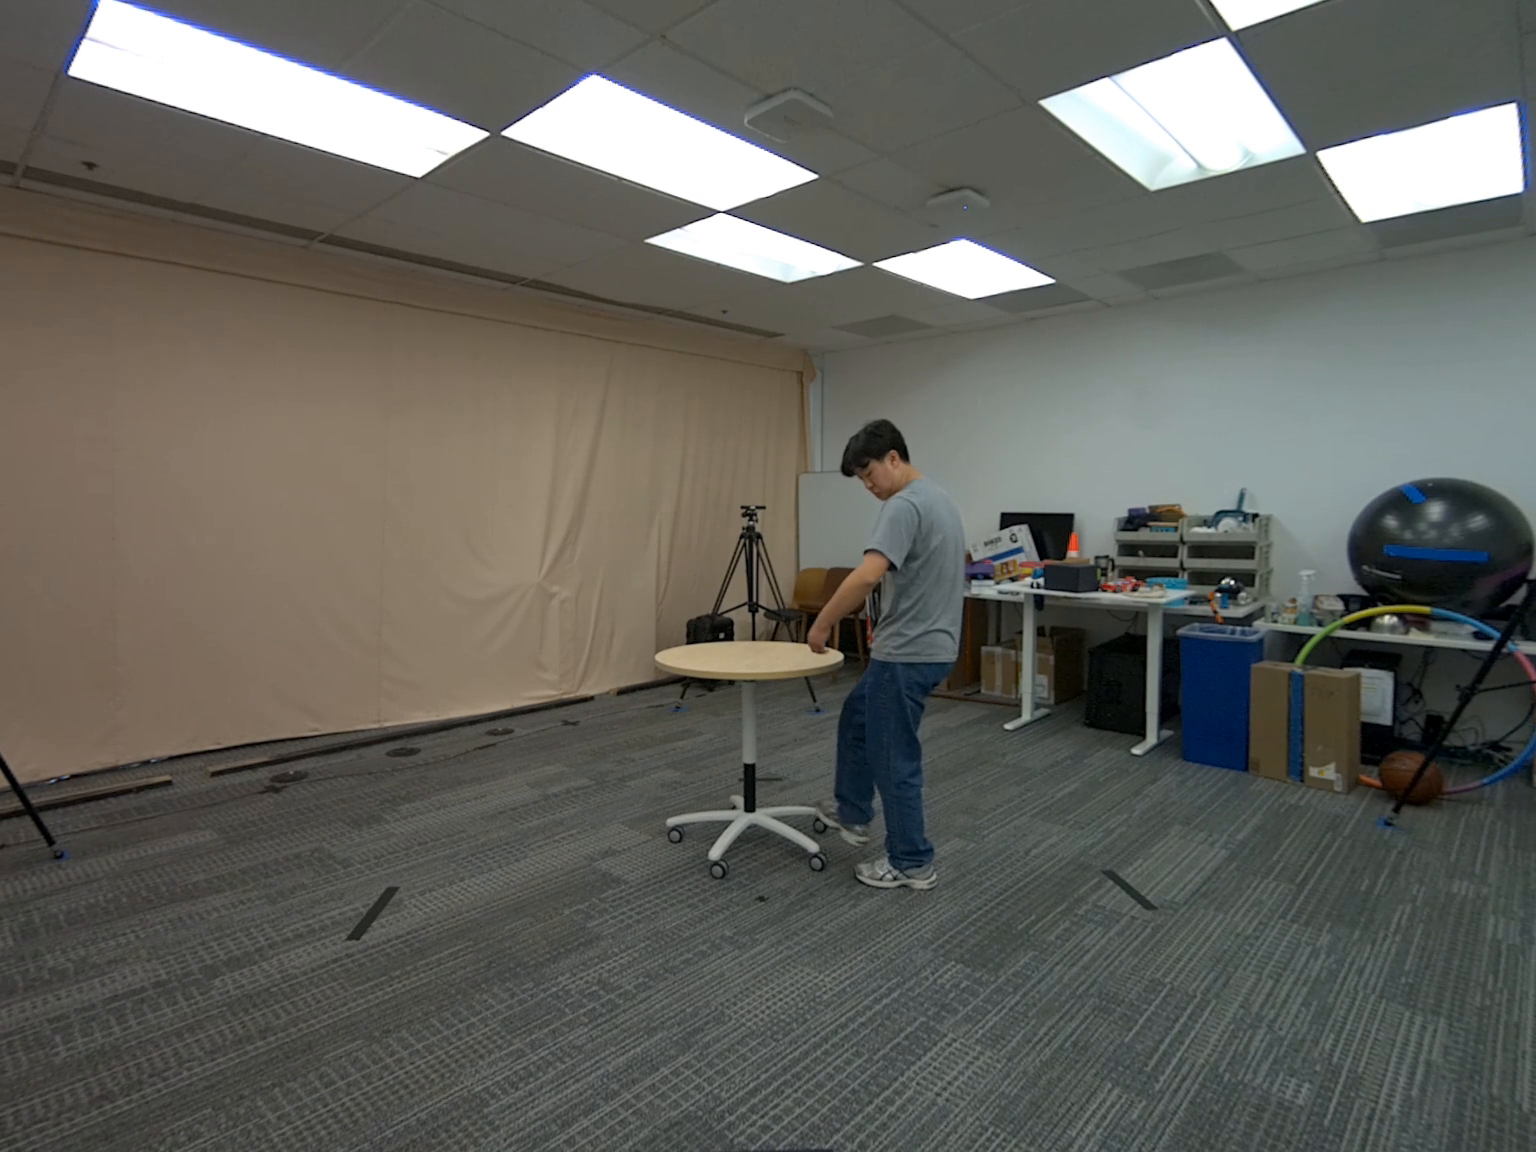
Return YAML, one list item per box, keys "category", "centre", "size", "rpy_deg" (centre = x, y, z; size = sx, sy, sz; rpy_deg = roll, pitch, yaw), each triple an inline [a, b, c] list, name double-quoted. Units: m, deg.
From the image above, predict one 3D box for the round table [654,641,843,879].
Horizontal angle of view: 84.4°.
- category: "round table"
  centre: [-0.072, 0.719, 3.449]
  size: [0.763, 0.792, 0.766]
  rpy_deg: [-1, 3, -2]
